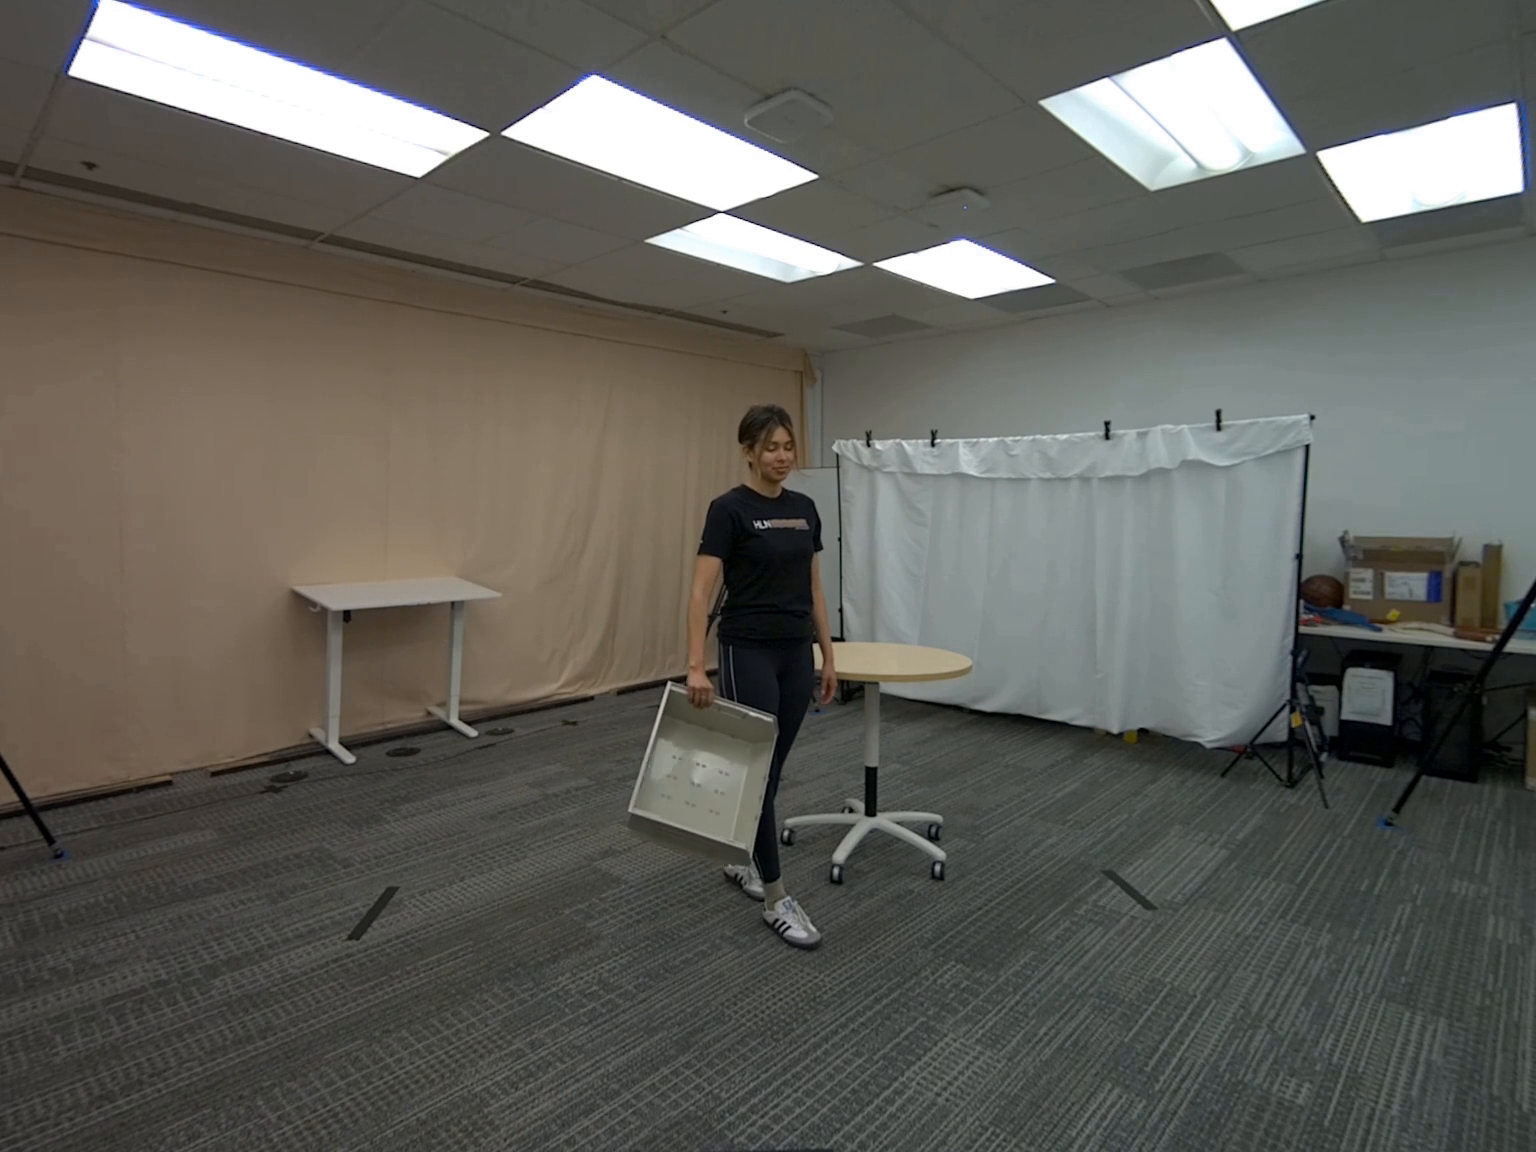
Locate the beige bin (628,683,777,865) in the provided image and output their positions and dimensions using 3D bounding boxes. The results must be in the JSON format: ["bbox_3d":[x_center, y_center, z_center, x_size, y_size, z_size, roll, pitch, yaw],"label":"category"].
[{"bbox_3d":[-0.175,0.587,2.473,0.377,0.426,0.187,17,-40,-2],"label":"beige bin"}]
